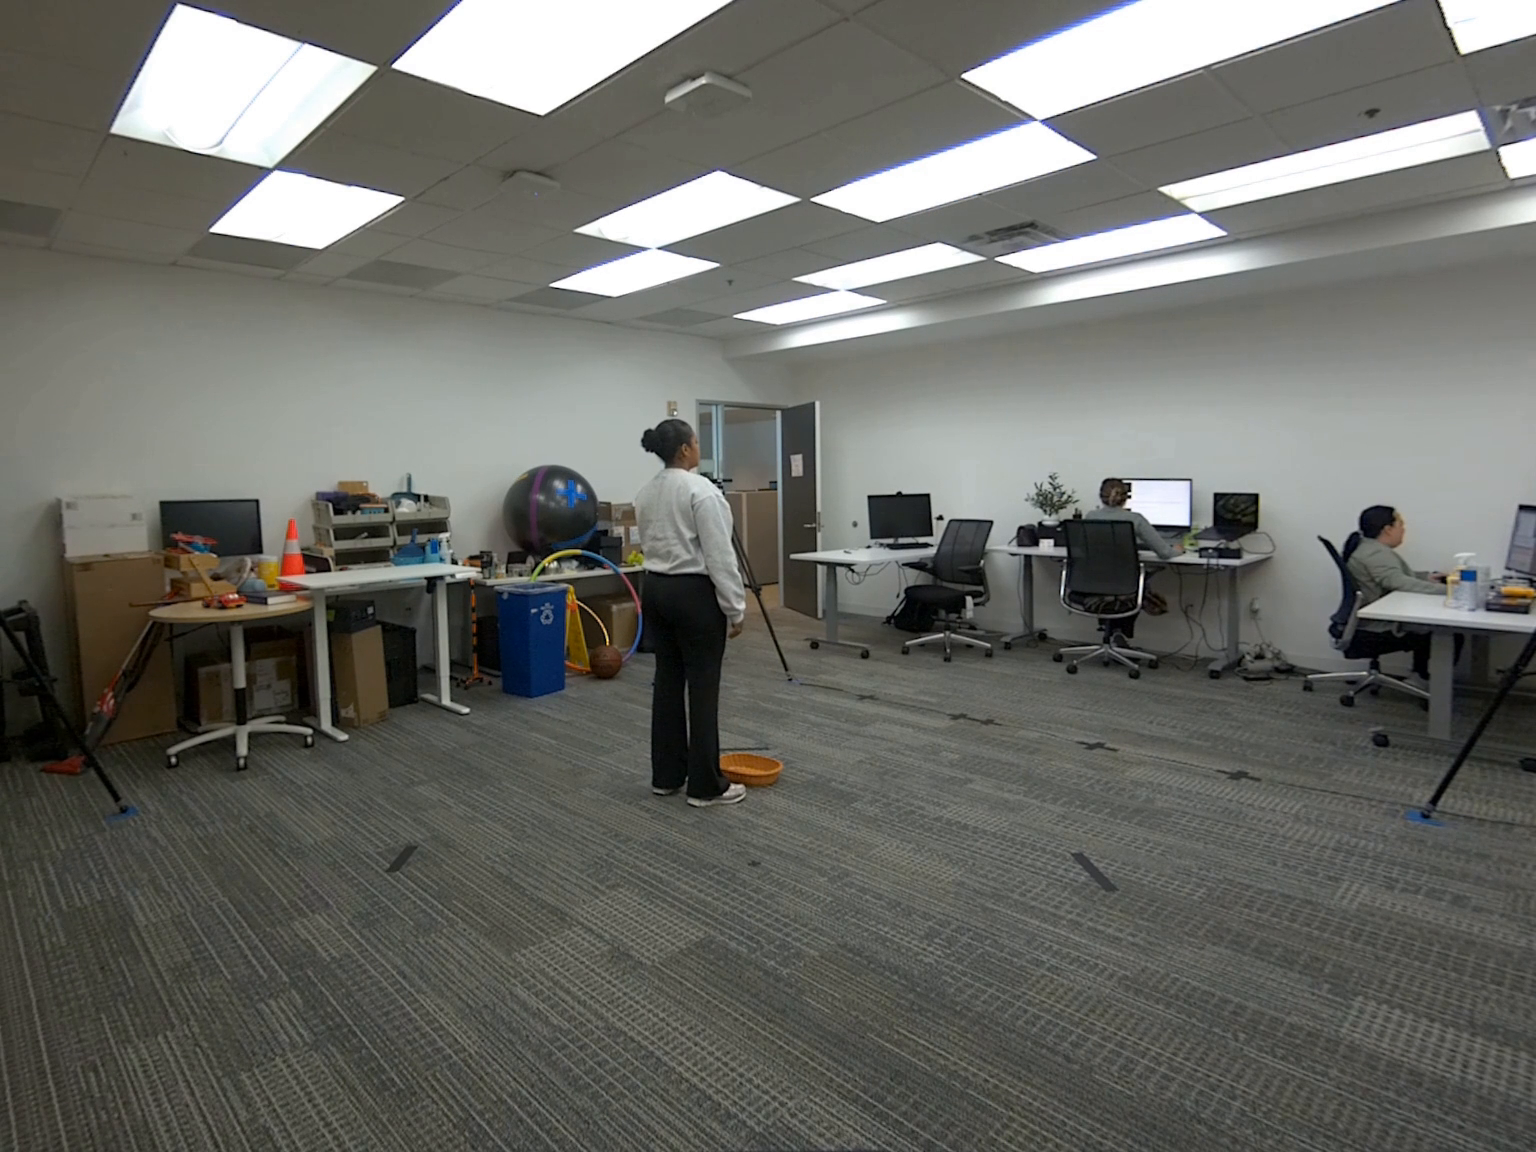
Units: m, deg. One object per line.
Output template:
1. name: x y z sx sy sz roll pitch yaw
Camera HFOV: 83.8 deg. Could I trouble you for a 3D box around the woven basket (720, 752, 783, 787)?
1. woven basket: -0.096 0.908 4.002 0.361 0.073 0.246 4 9 38
